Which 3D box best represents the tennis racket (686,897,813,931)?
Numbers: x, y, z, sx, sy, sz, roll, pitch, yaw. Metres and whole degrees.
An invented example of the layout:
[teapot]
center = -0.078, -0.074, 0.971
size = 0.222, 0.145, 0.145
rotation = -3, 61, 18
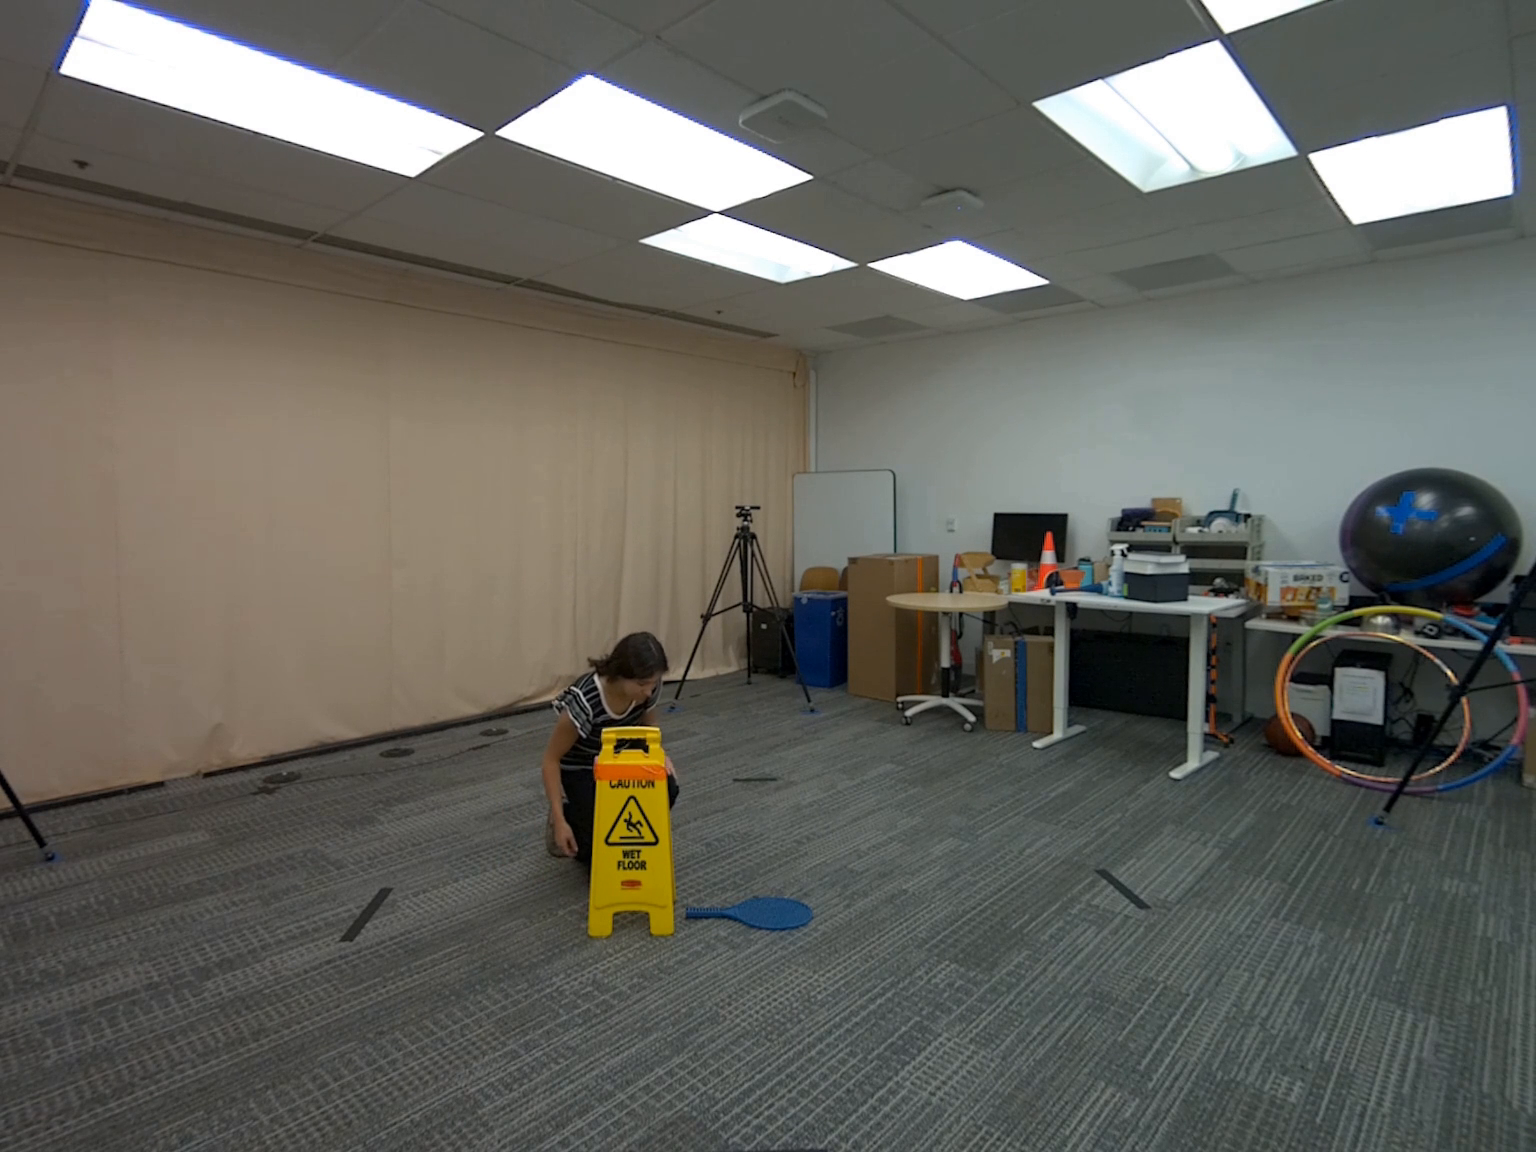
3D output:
[tennis racket]
center = -0.058, 1.140, 2.862
size = 0.432, 0.032, 0.214
rotation = 1, 5, -1
